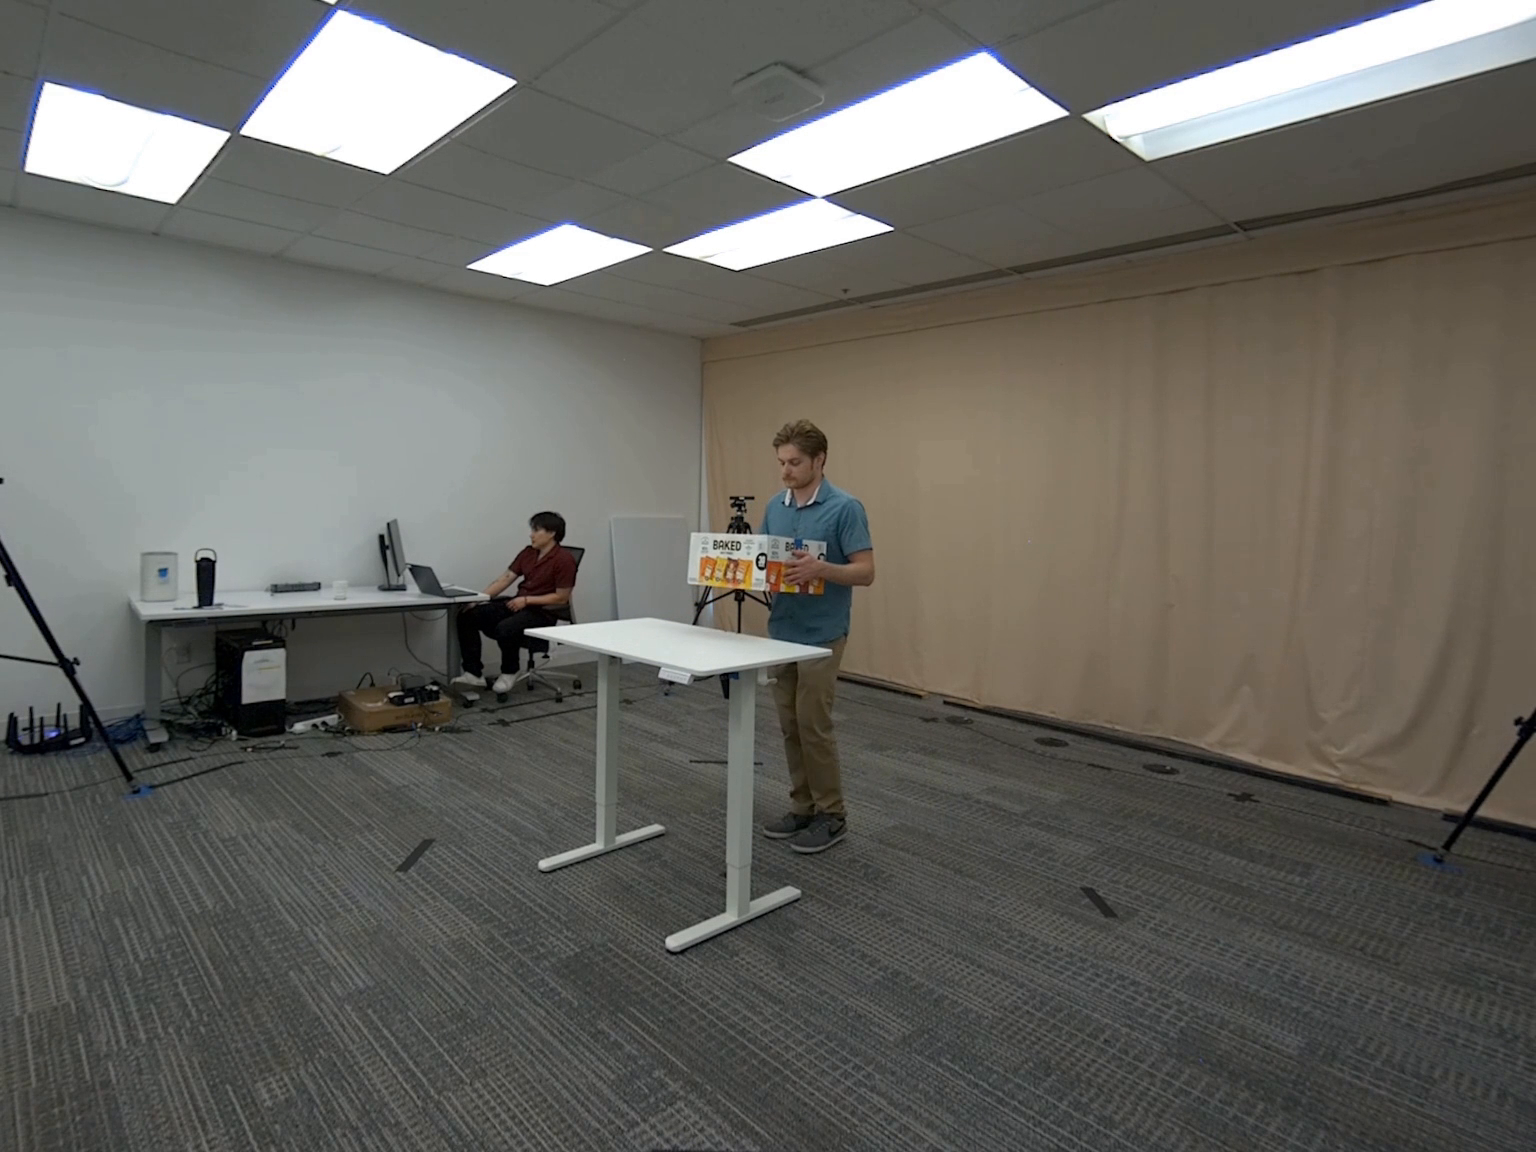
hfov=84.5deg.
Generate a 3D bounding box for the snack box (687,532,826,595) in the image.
[{"bbox_3d":[-0.050,-0.049,3.259,0.415,0.206,0.331,4,-1,43],"label":"snack box"}]
